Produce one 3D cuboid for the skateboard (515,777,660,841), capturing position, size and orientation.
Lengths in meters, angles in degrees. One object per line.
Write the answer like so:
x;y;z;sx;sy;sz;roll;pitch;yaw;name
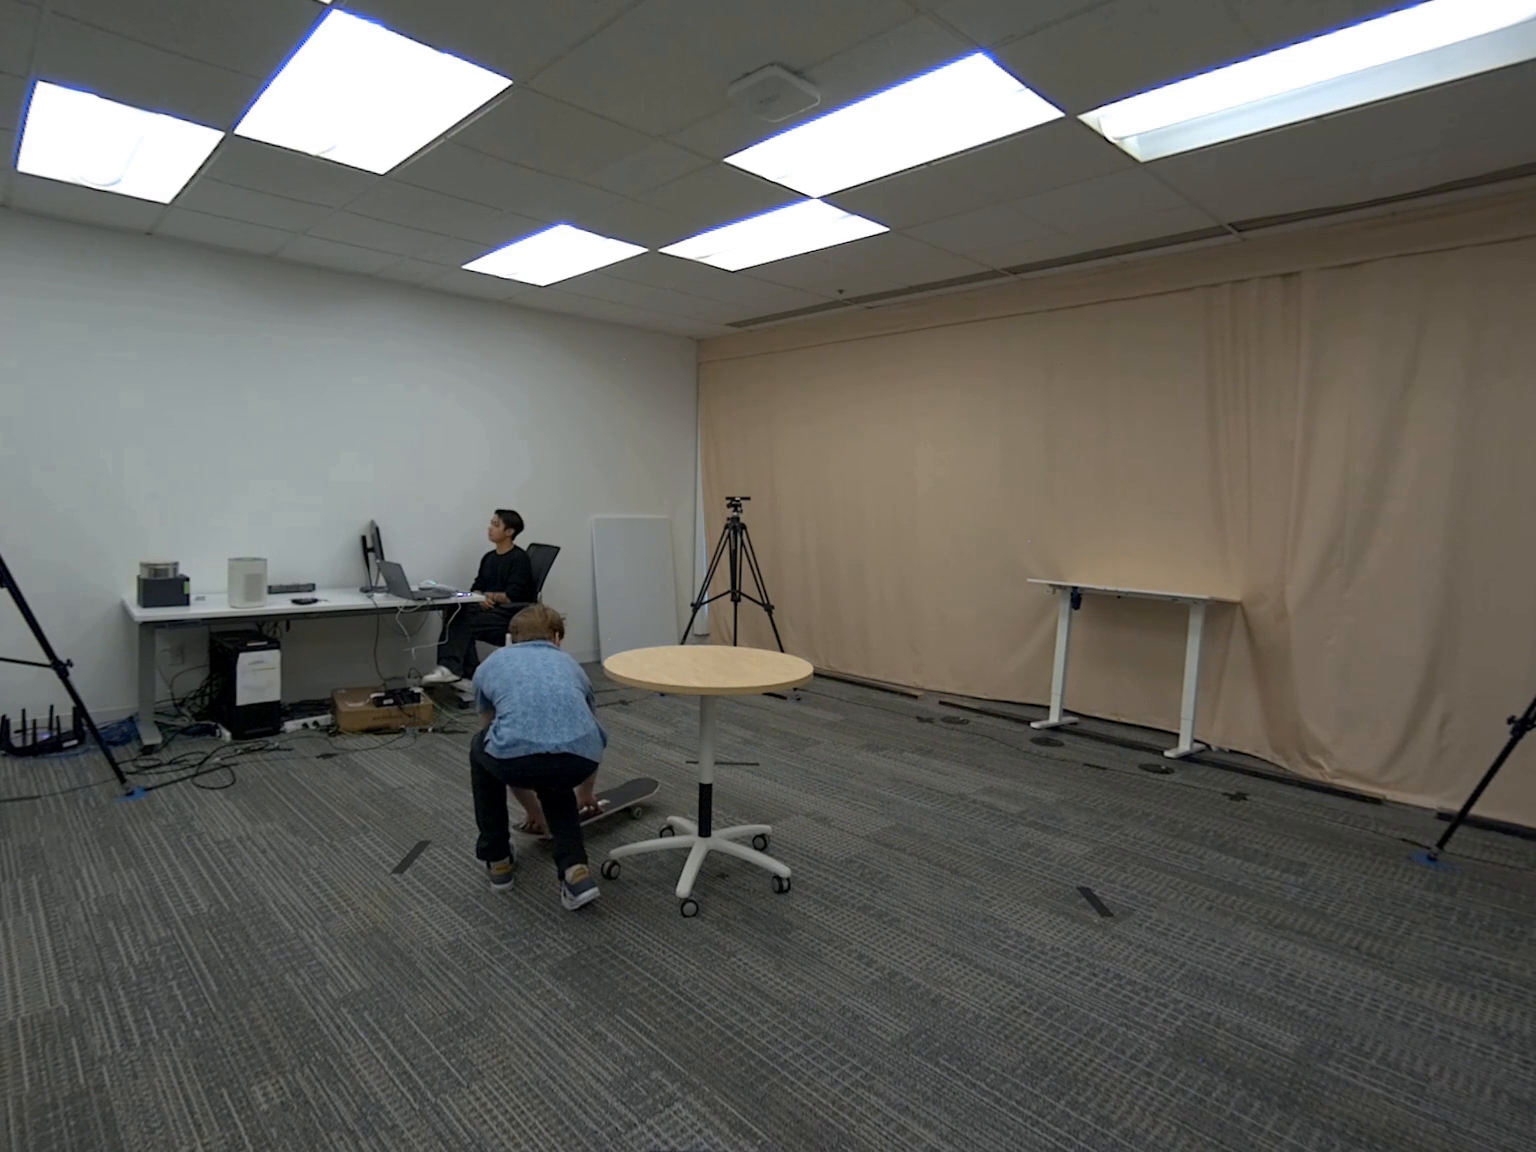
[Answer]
-0.753;1.004;3.522;0.198;0.110;0.769;5;6;33;skateboard
